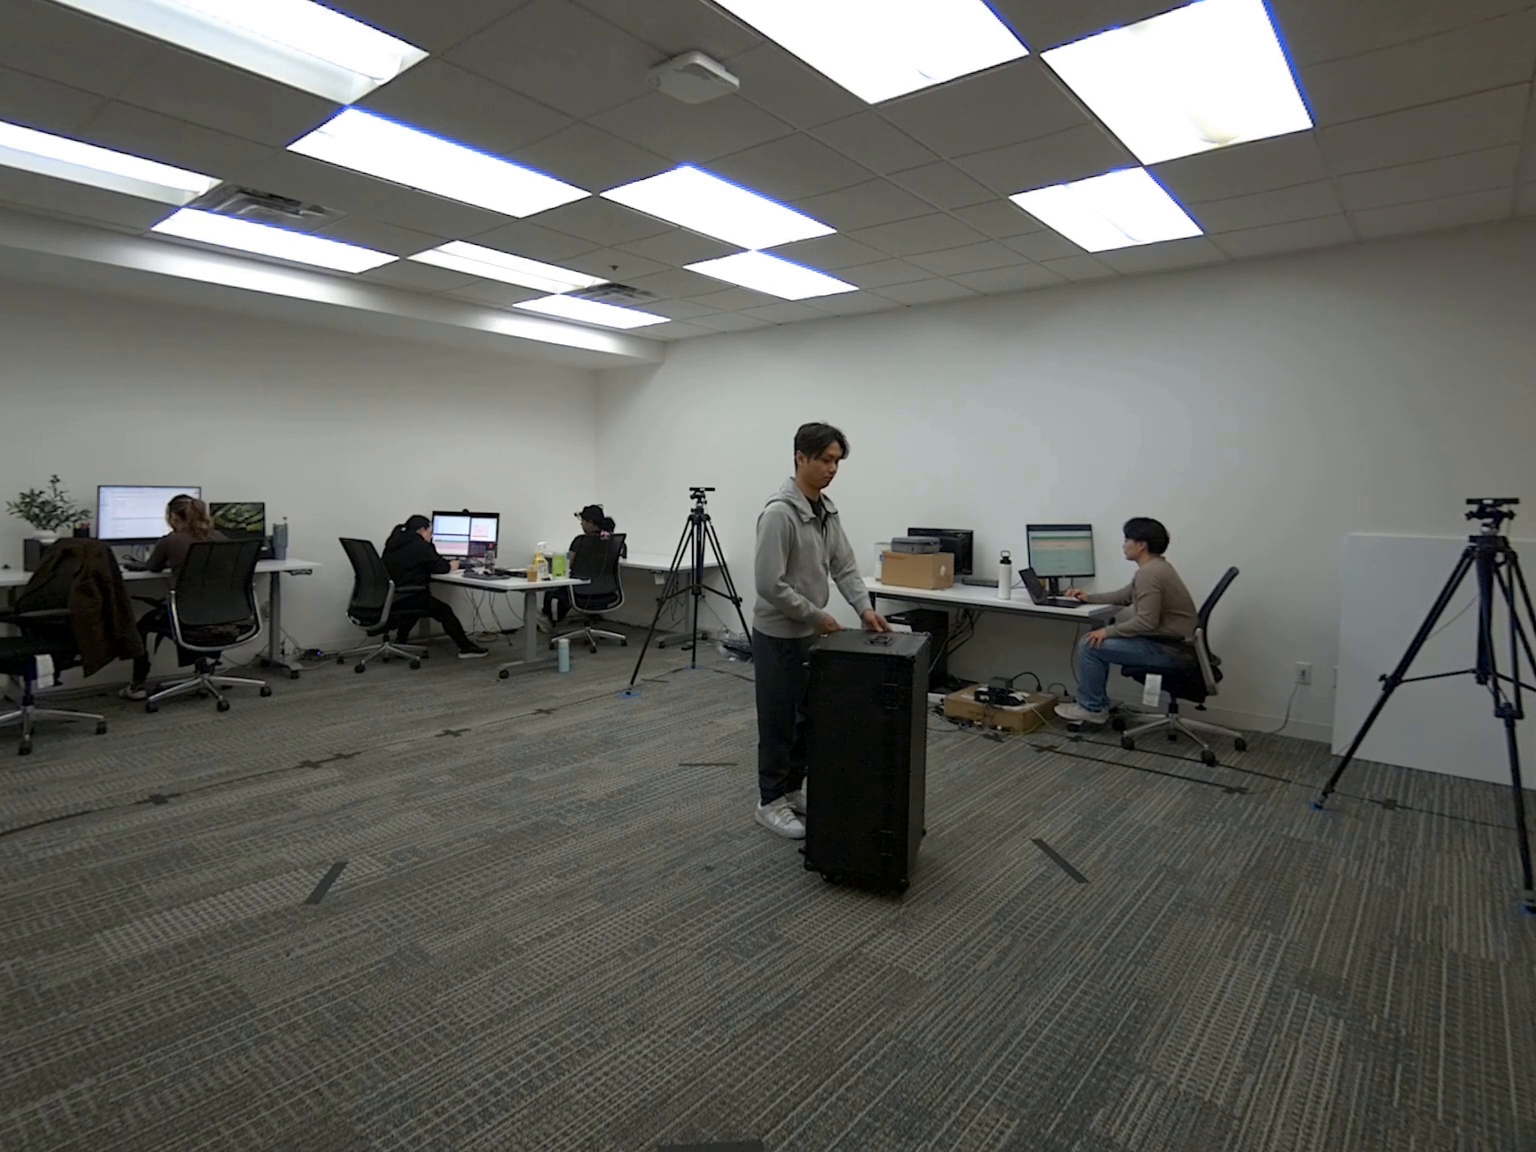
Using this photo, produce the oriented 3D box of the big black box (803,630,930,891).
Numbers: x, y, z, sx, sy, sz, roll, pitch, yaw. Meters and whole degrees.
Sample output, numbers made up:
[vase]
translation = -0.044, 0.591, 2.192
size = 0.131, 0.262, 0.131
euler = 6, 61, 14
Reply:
[big black box]
translation = 0.361, 0.652, 3.097
size = 0.404, 0.859, 0.513
euler = 2, 4, 17
